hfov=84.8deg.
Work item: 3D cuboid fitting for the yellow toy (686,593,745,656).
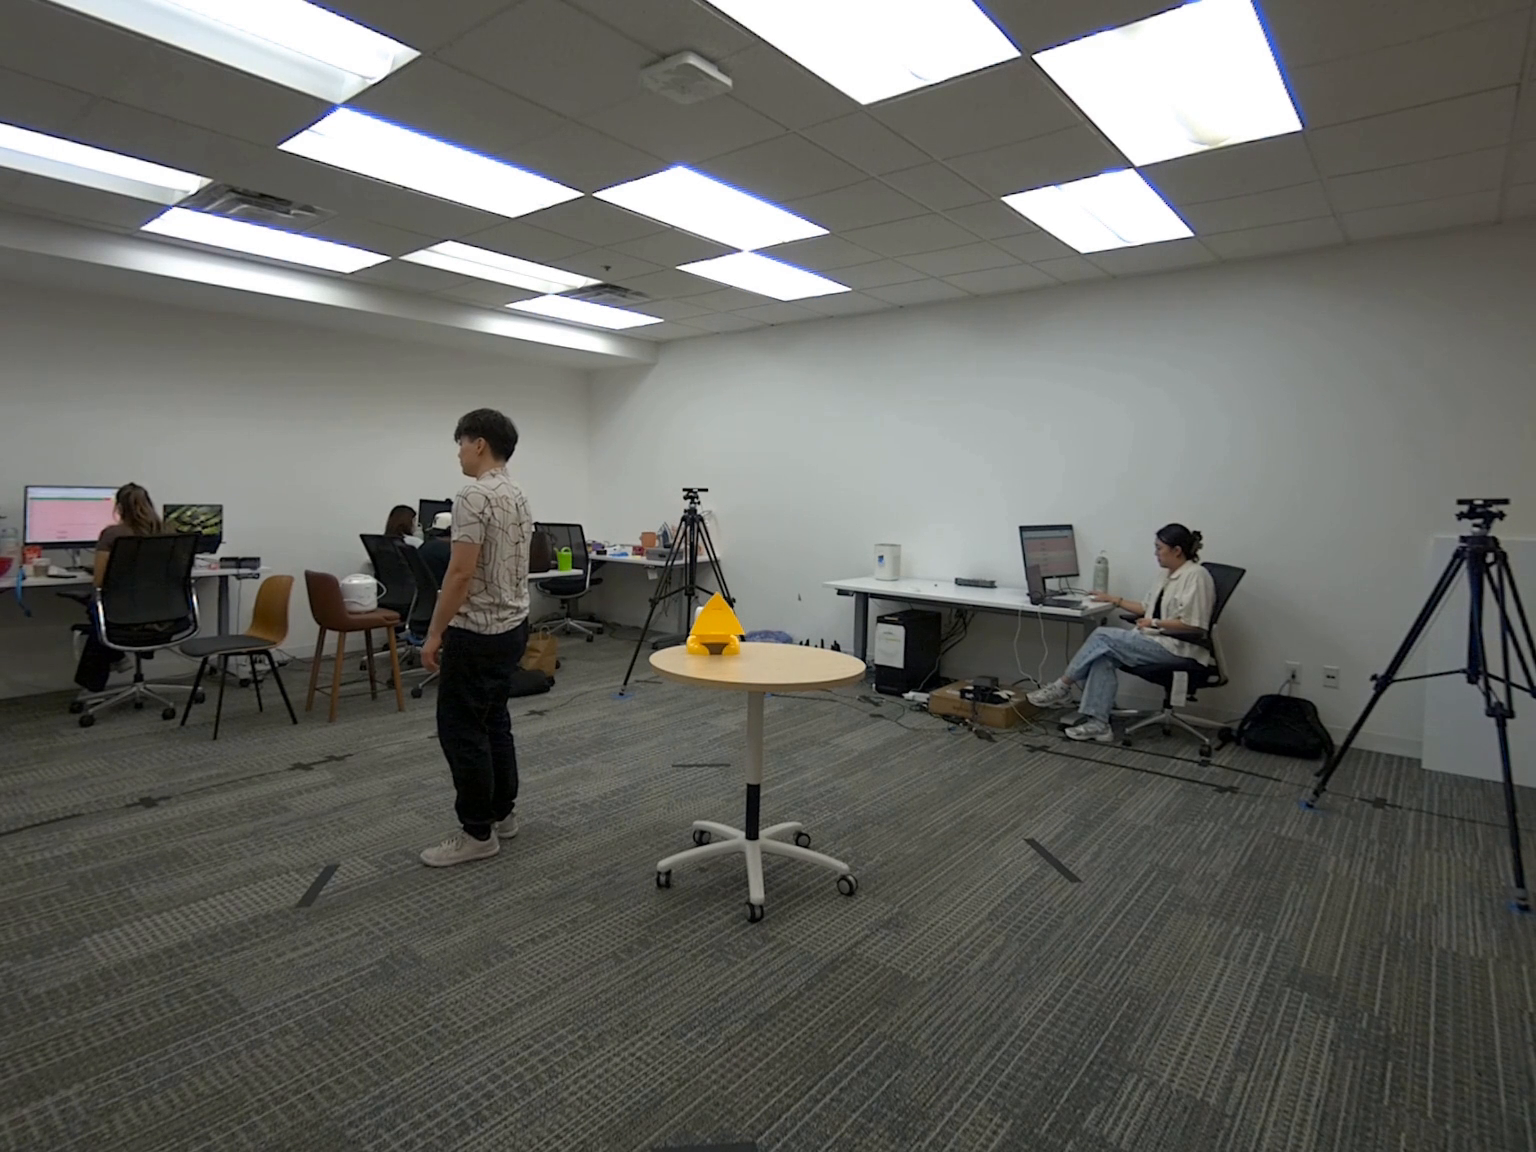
[{"bbox_3d":[-0.209,0.170,3.178,0.202,0.230,0.196,1,4,-11],"label":"yellow toy"}]
